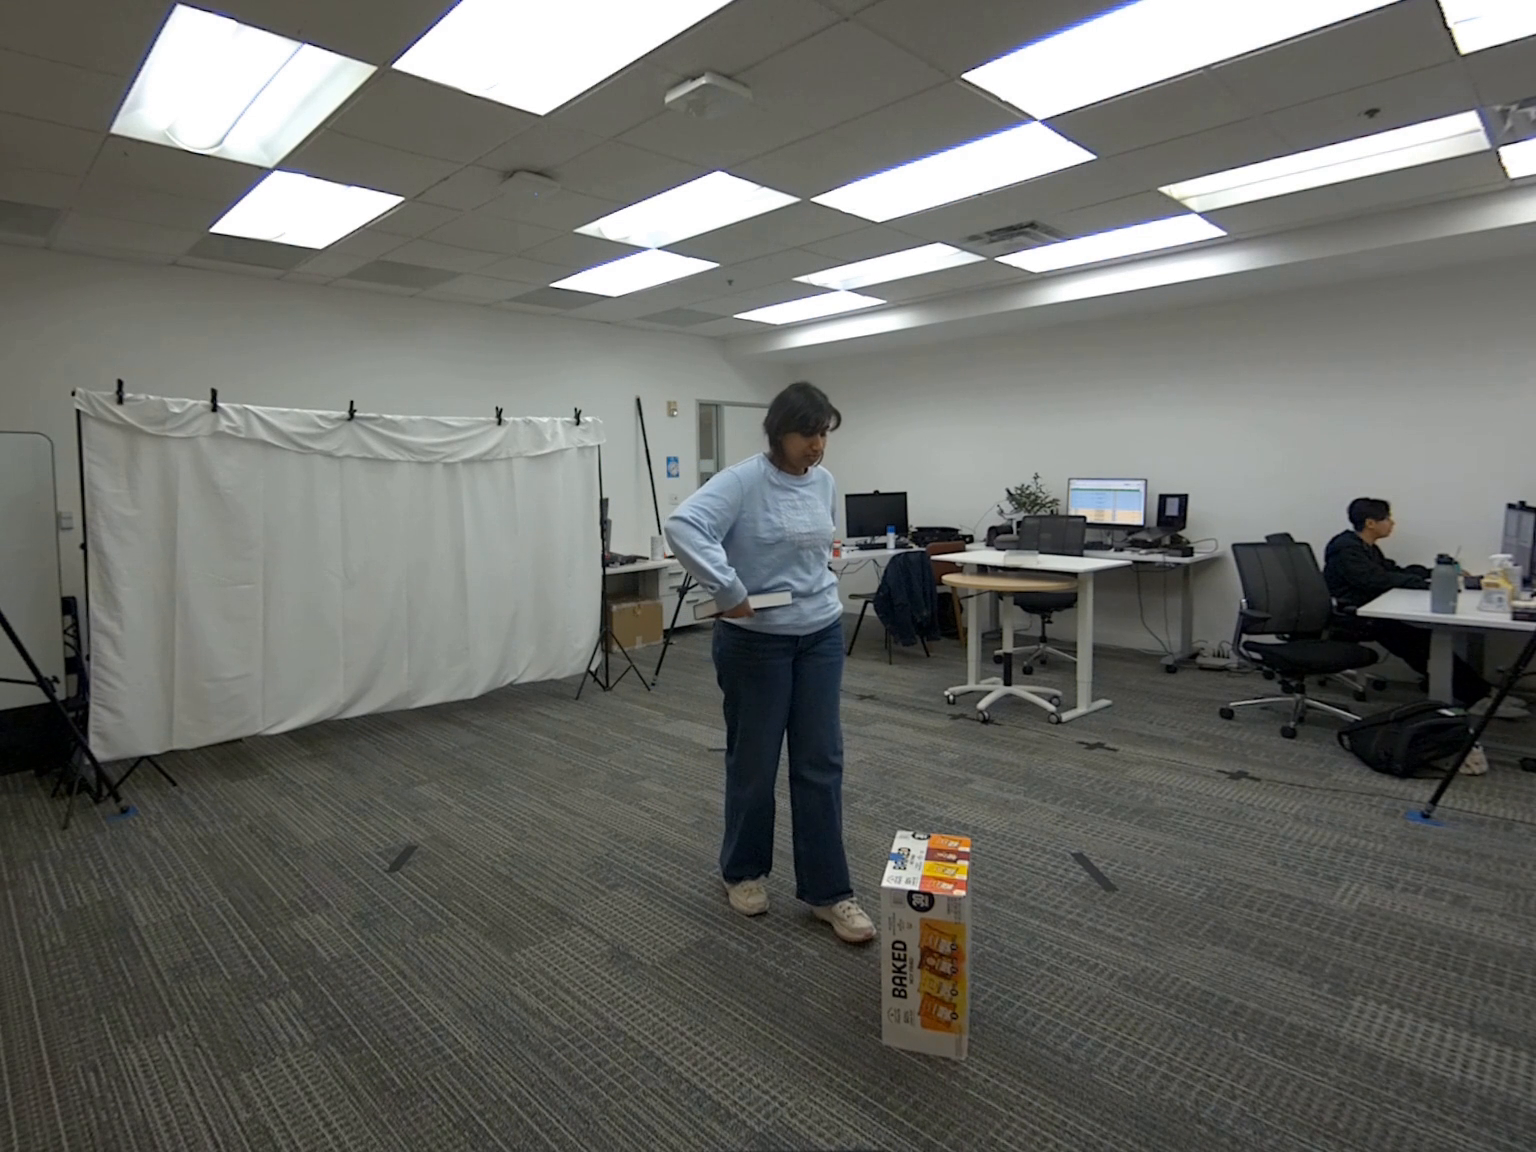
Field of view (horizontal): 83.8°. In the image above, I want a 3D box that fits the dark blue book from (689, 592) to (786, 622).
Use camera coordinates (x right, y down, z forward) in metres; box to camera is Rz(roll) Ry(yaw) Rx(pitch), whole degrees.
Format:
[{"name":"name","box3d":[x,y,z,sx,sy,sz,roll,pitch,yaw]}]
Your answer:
[{"name":"dark blue book","box3d":[-0.090,0.087,2.442,0.243,0.045,0.164,-5,-6,-11]}]
